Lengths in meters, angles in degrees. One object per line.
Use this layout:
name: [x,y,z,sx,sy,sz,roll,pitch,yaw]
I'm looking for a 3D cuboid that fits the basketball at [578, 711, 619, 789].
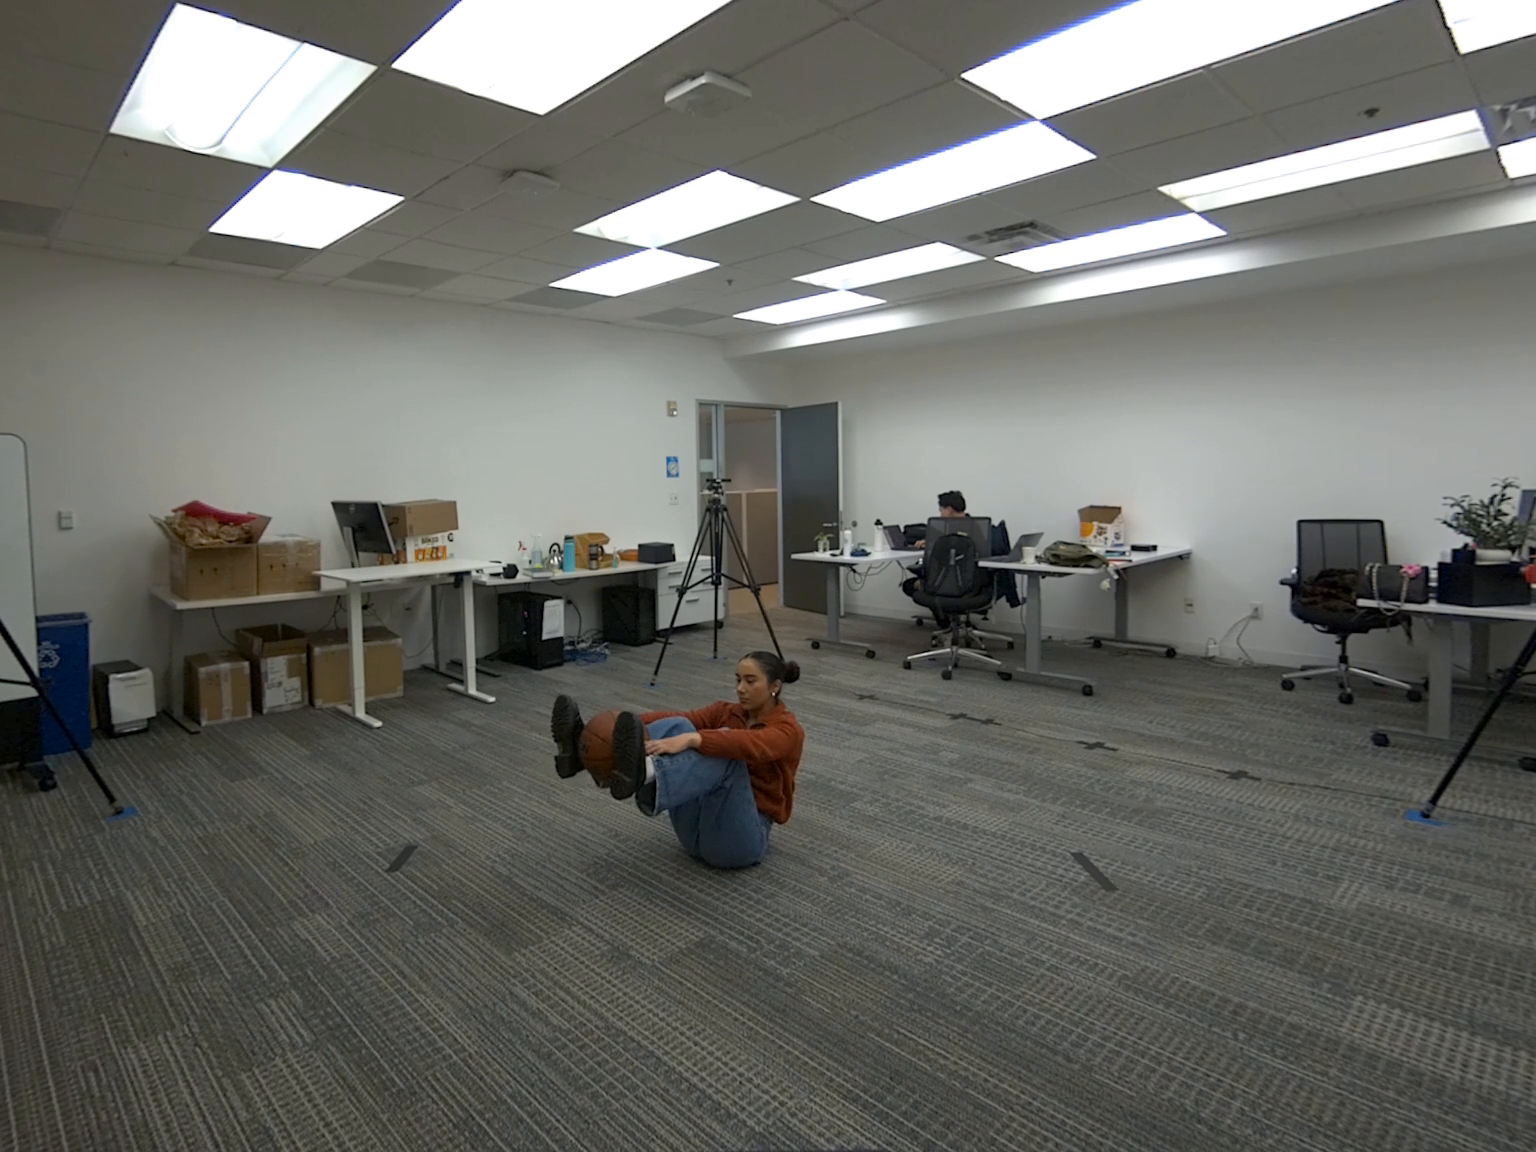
basketball: [-0.503,0.558,2.806,0.236,0.236,0.236,0,1,-2]
